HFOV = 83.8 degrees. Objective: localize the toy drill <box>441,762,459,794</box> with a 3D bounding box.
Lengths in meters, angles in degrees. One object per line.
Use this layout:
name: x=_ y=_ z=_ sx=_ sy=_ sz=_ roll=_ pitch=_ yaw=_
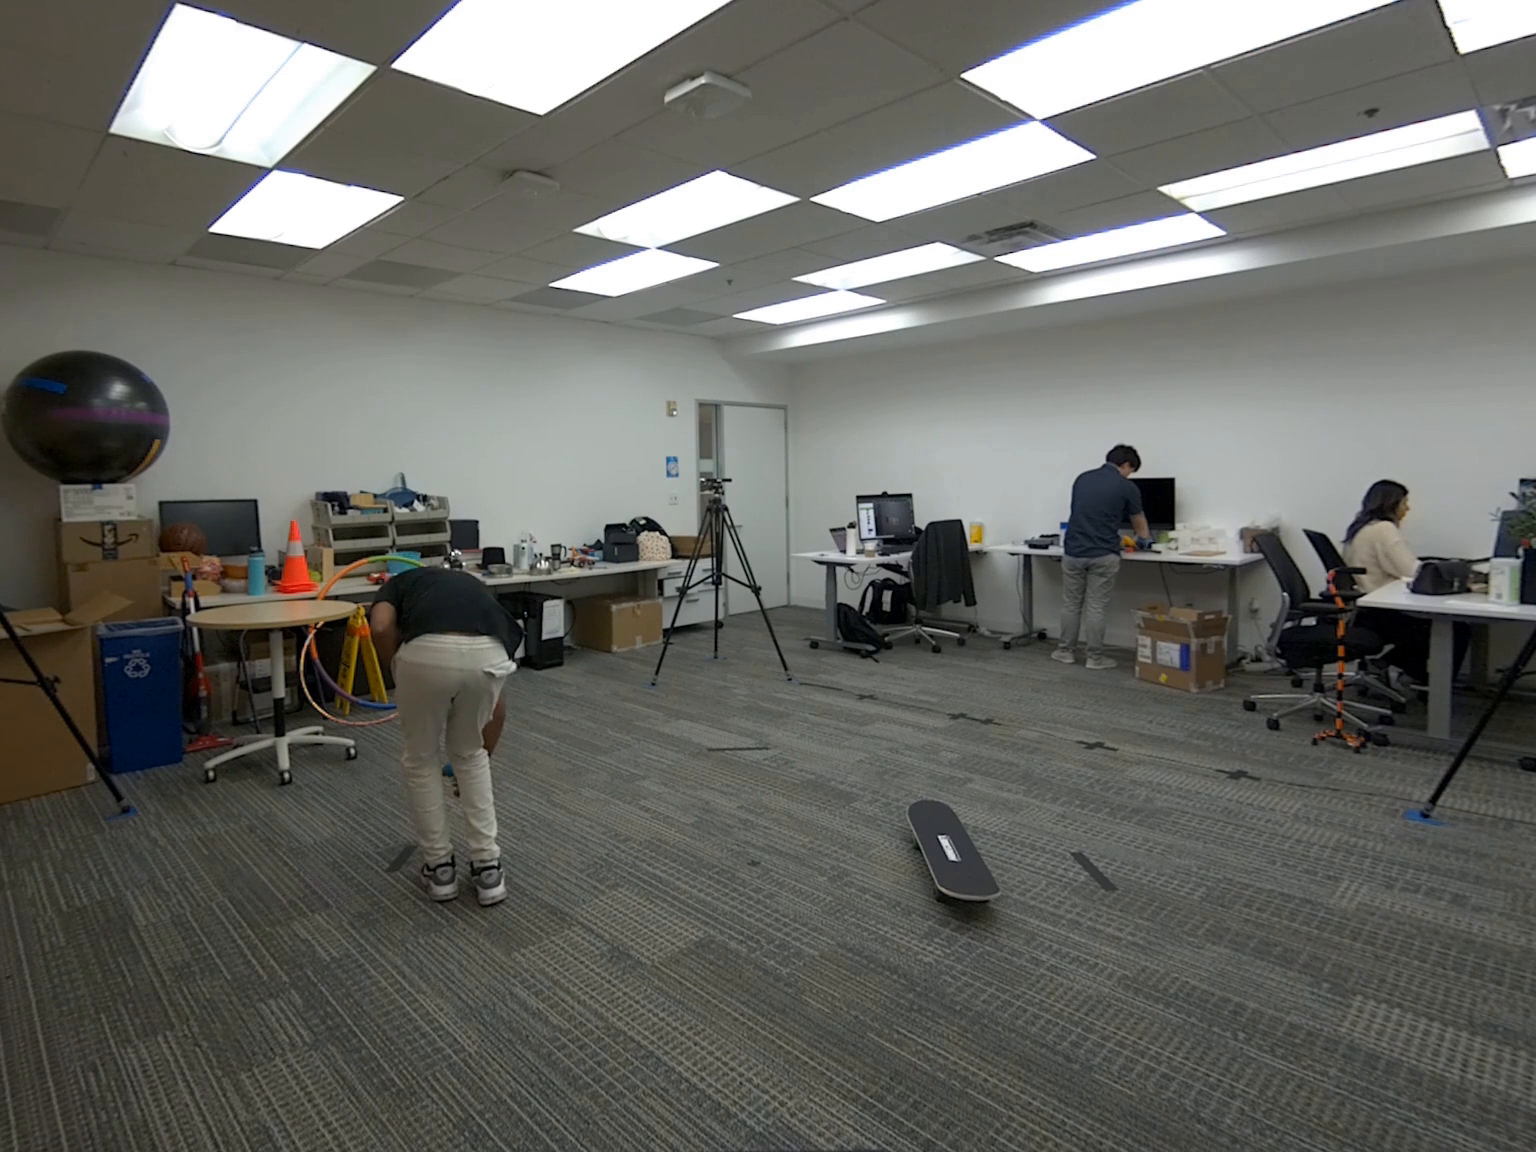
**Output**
toy drill: x=-1.201 y=0.770 z=3.261 sx=0.169 sy=0.059 sz=0.151 roll=-19 pitch=48 yaw=-7
